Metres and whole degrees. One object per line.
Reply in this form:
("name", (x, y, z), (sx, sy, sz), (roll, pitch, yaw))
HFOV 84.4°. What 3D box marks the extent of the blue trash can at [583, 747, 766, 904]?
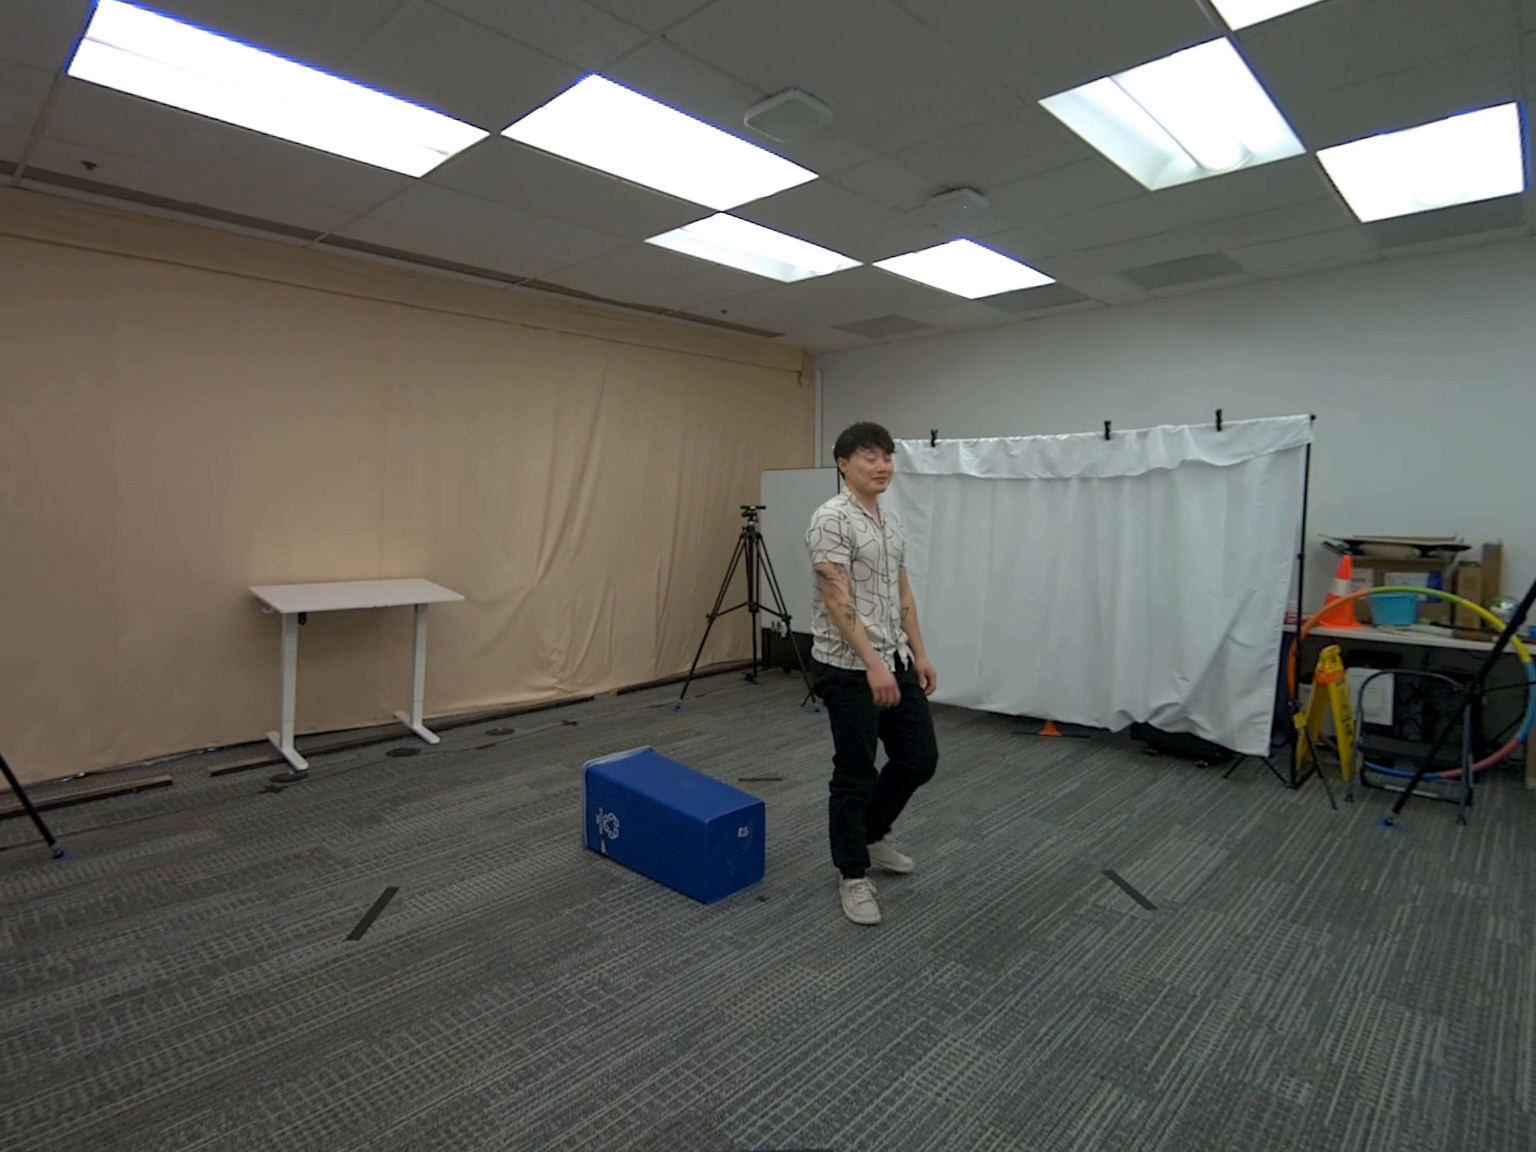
("blue trash can", (-0.370, 0.948, 3.271), (0.362, 0.377, 0.738), (-3, 7, -45))
